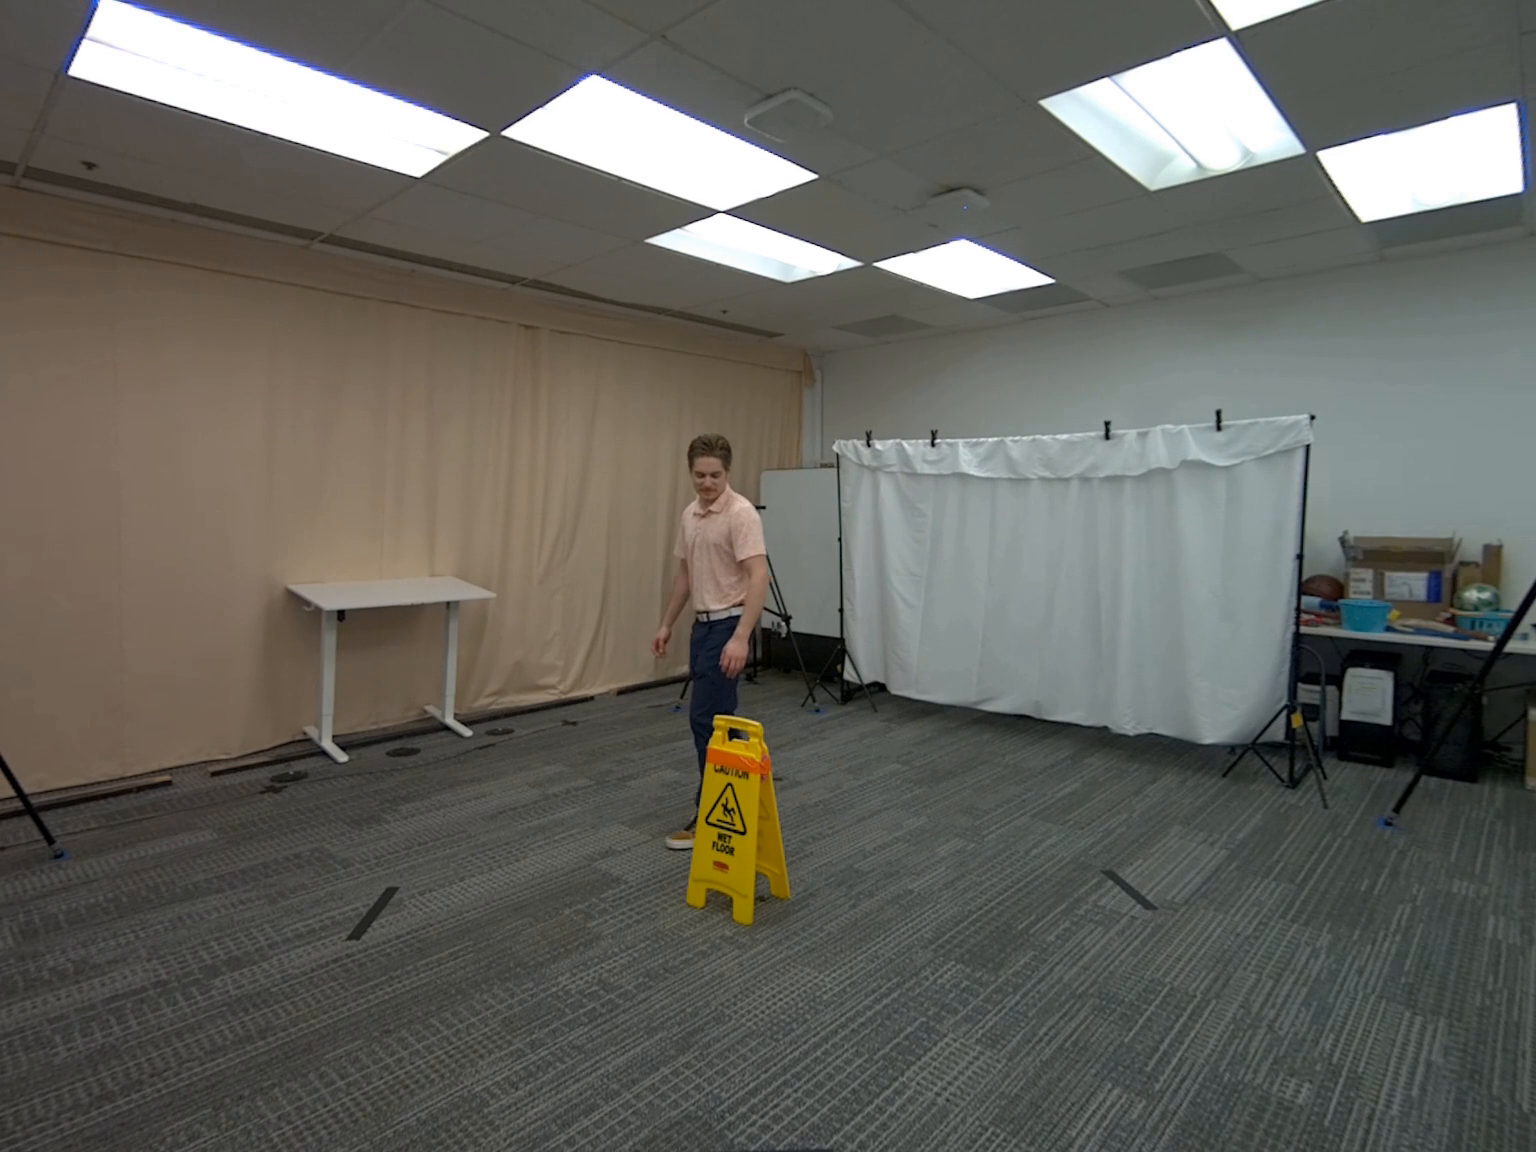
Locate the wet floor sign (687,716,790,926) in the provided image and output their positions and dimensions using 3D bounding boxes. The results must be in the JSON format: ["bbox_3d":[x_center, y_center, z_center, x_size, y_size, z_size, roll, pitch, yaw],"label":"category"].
[{"bbox_3d":[-0.100,0.820,2.954,0.291,0.645,0.281,3,3,36],"label":"wet floor sign"}]
